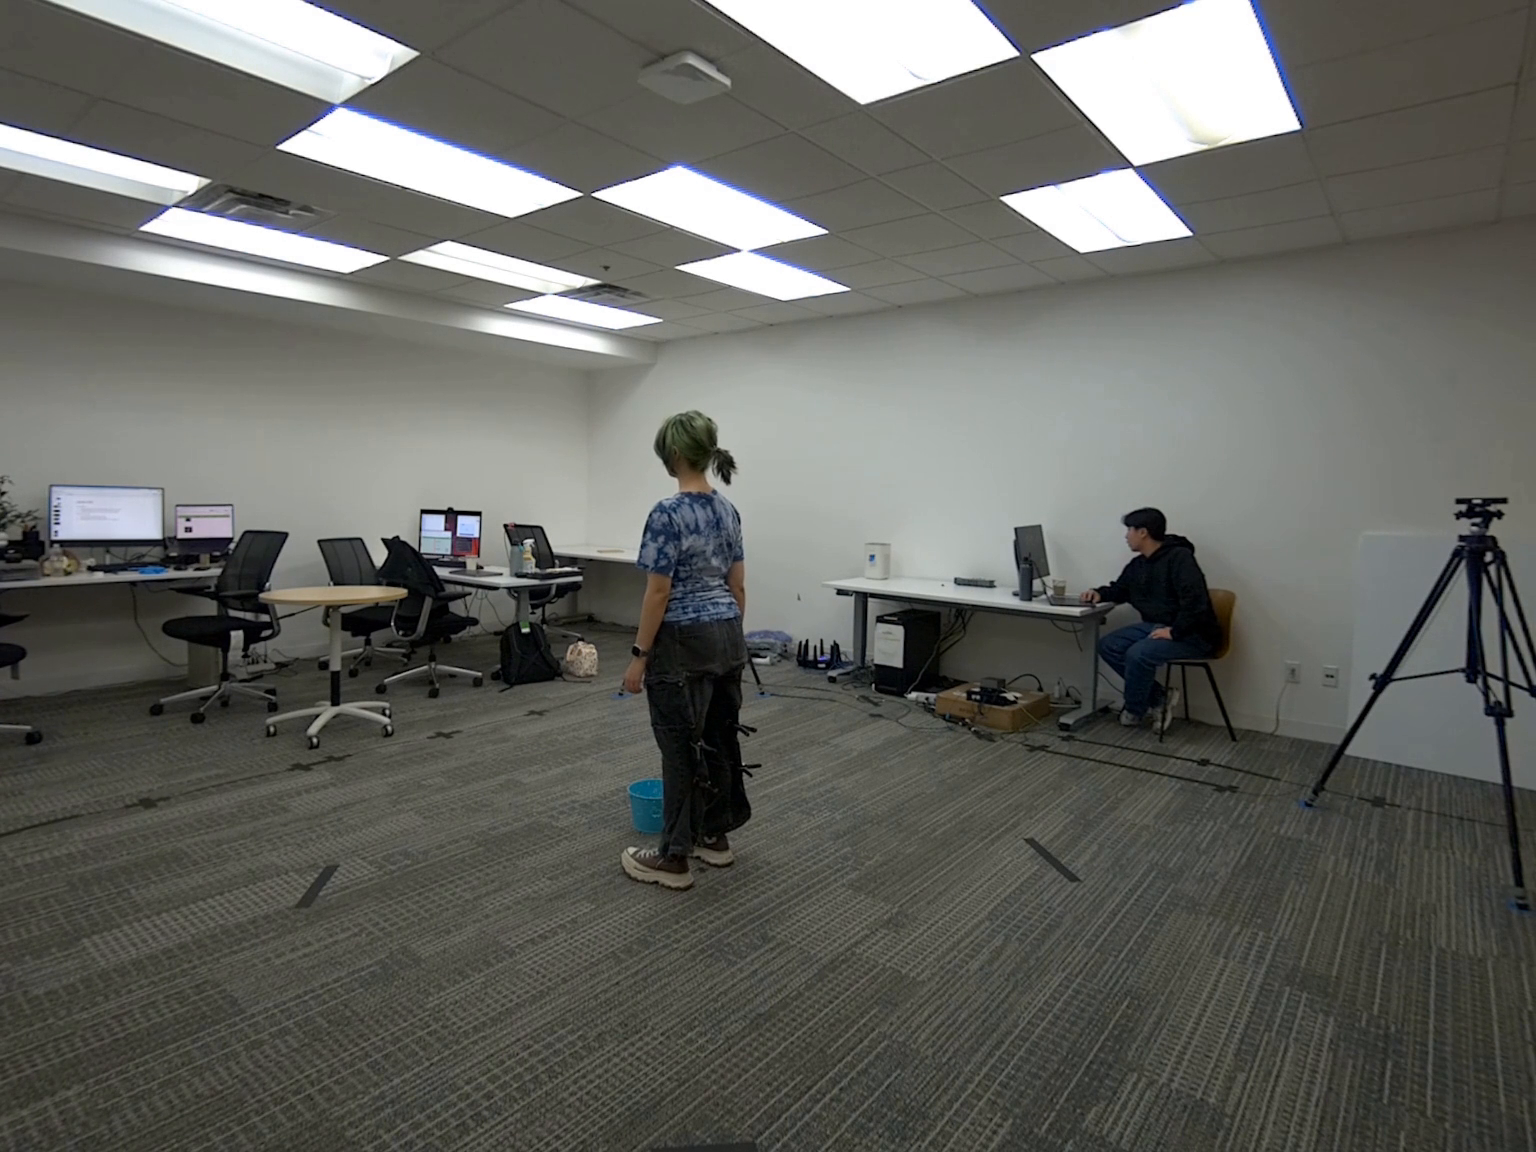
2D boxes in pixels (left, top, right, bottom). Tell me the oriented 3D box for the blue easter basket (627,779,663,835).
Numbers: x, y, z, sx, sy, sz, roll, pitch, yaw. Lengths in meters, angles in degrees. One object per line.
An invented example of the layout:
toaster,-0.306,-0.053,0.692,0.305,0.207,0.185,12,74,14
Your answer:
blue easter basket,-0.475,0.945,3.524,0.243,0.155,0.245,1,5,-2
